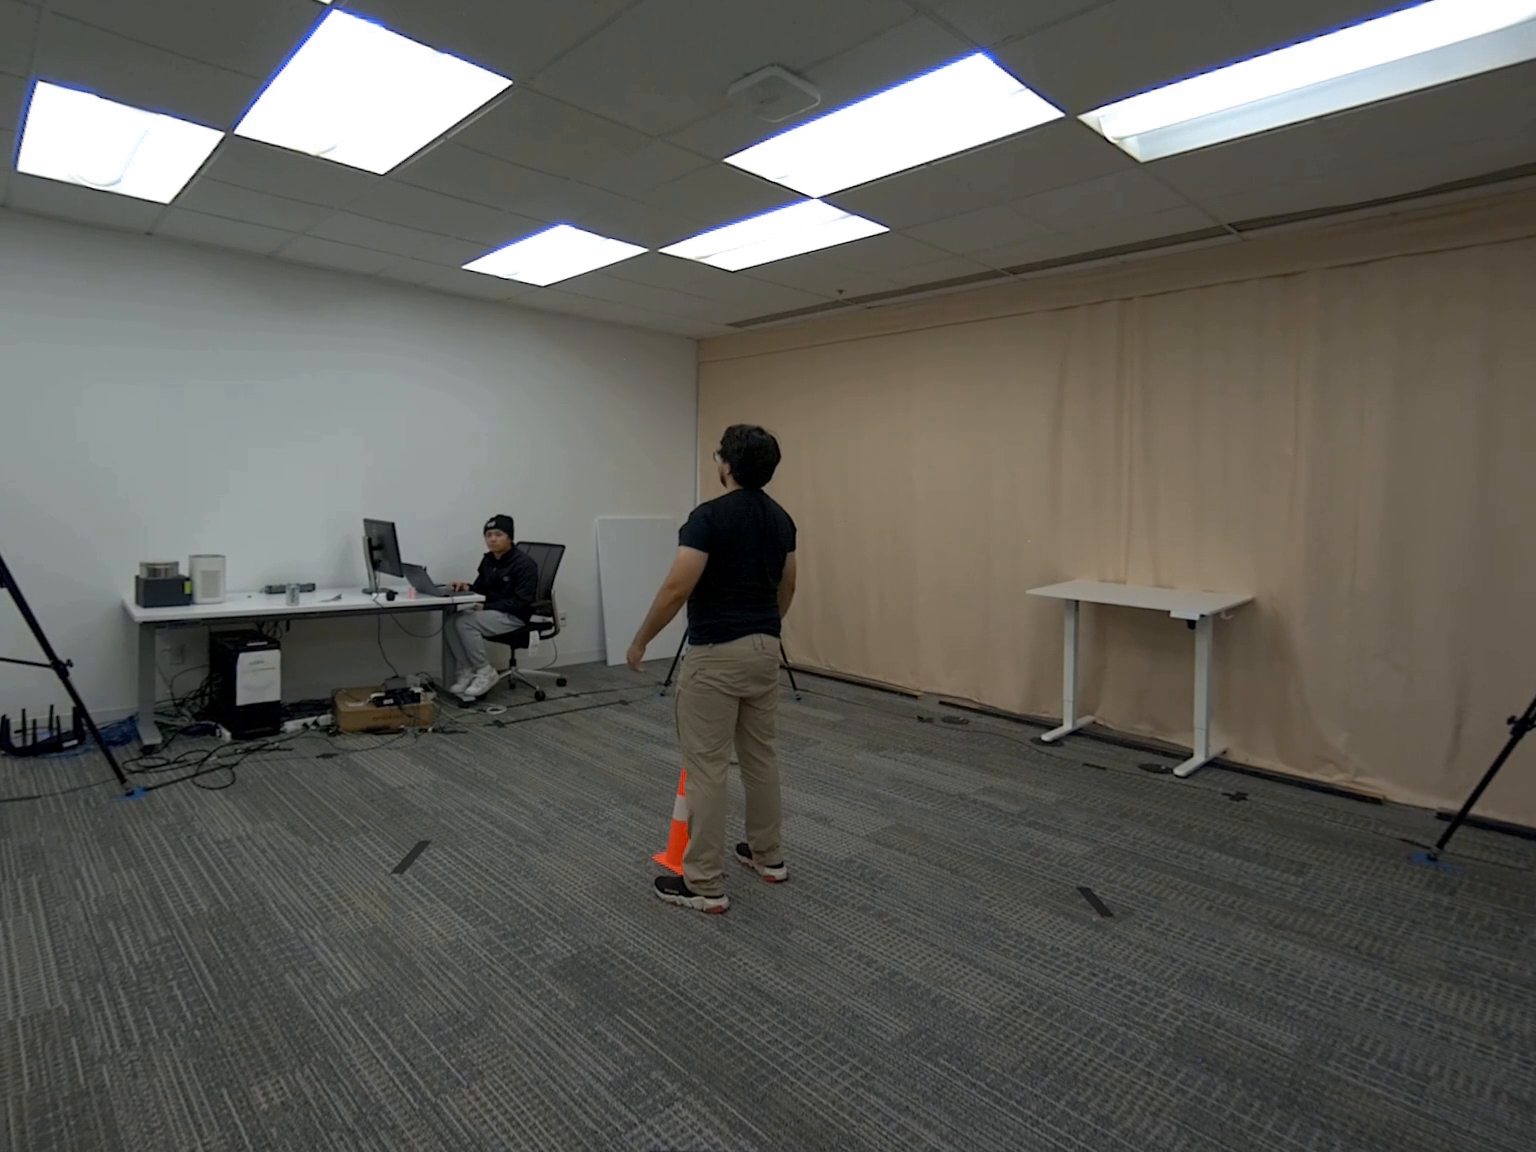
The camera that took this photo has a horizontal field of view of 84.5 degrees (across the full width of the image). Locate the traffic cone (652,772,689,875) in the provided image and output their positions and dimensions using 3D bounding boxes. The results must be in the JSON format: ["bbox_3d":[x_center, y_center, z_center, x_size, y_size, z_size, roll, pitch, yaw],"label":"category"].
[{"bbox_3d":[-0.322,0.907,3.230,0.200,0.383,0.208,-2,4,-37],"label":"traffic cone"}]
